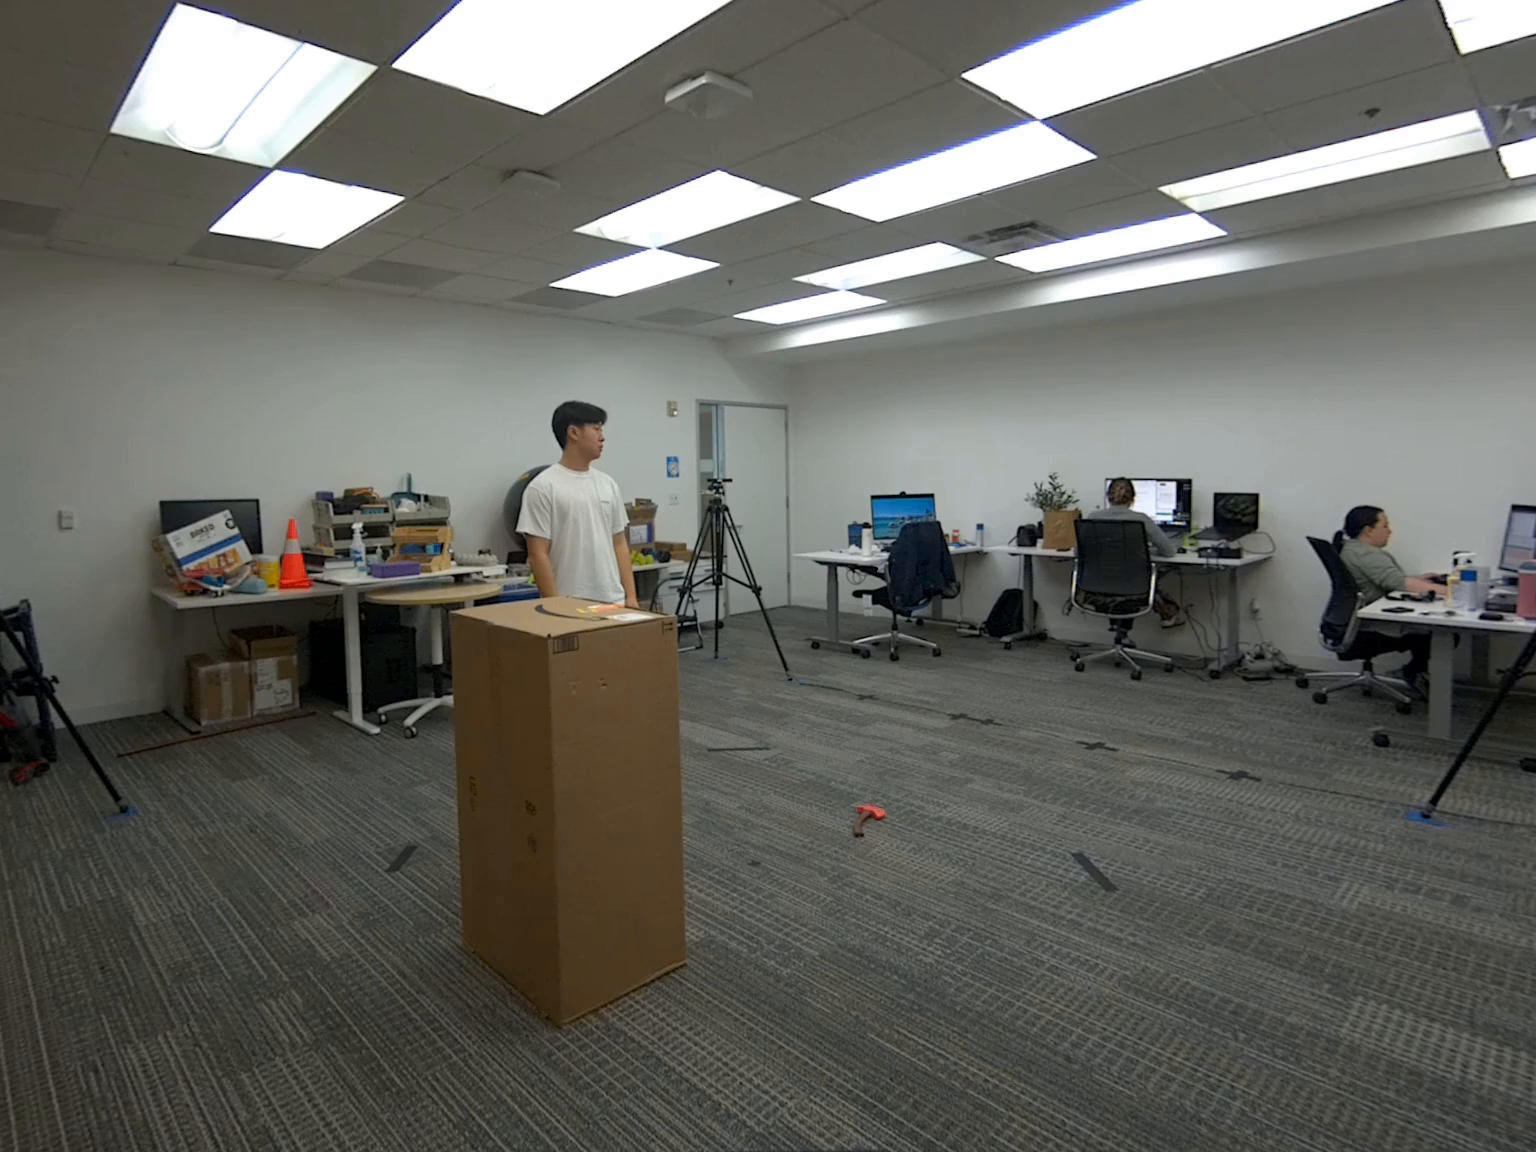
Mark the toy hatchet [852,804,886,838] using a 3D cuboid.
[{"bbox_3d":[0.410,0.992,3.439,0.132,0.029,0.269,2,9,7],"label":"toy hatchet"}]
